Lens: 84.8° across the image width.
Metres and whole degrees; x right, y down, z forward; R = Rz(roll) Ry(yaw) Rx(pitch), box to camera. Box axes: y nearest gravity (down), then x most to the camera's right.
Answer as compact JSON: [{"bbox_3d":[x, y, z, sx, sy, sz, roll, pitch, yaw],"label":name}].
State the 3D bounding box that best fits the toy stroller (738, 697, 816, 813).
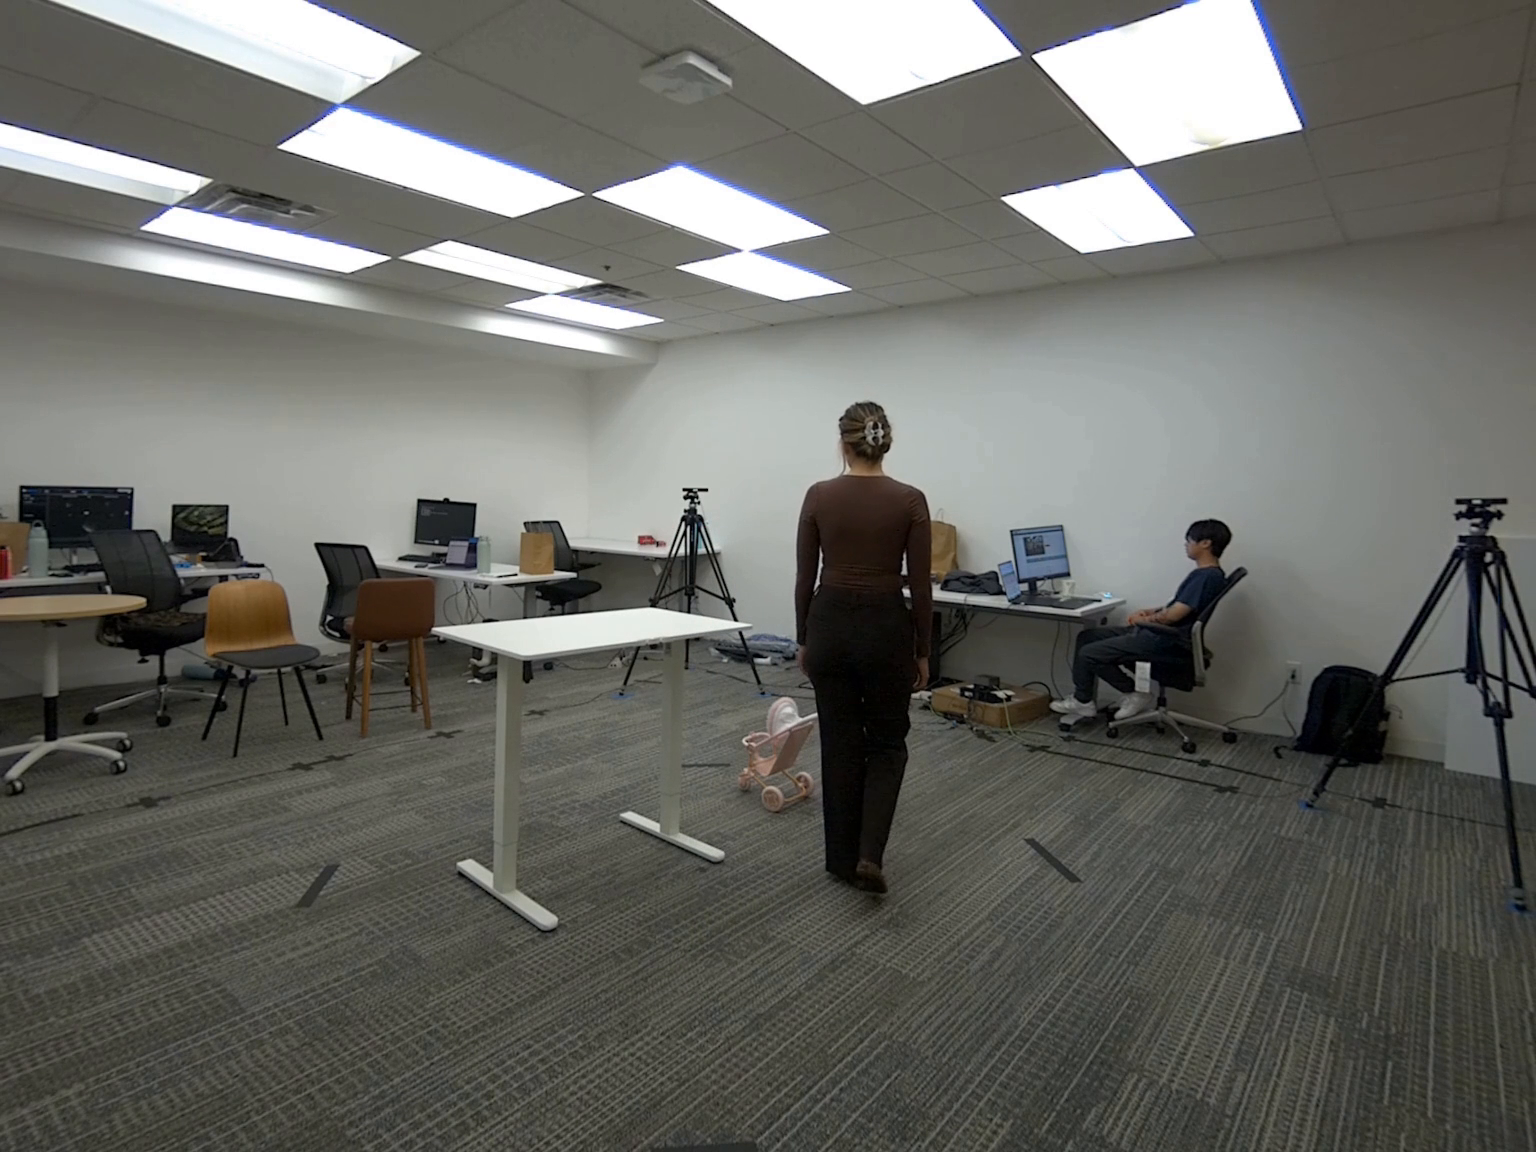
[{"bbox_3d":[0.038,0.780,3.819,0.355,0.530,0.273,24,17,39],"label":"toy stroller"}]
